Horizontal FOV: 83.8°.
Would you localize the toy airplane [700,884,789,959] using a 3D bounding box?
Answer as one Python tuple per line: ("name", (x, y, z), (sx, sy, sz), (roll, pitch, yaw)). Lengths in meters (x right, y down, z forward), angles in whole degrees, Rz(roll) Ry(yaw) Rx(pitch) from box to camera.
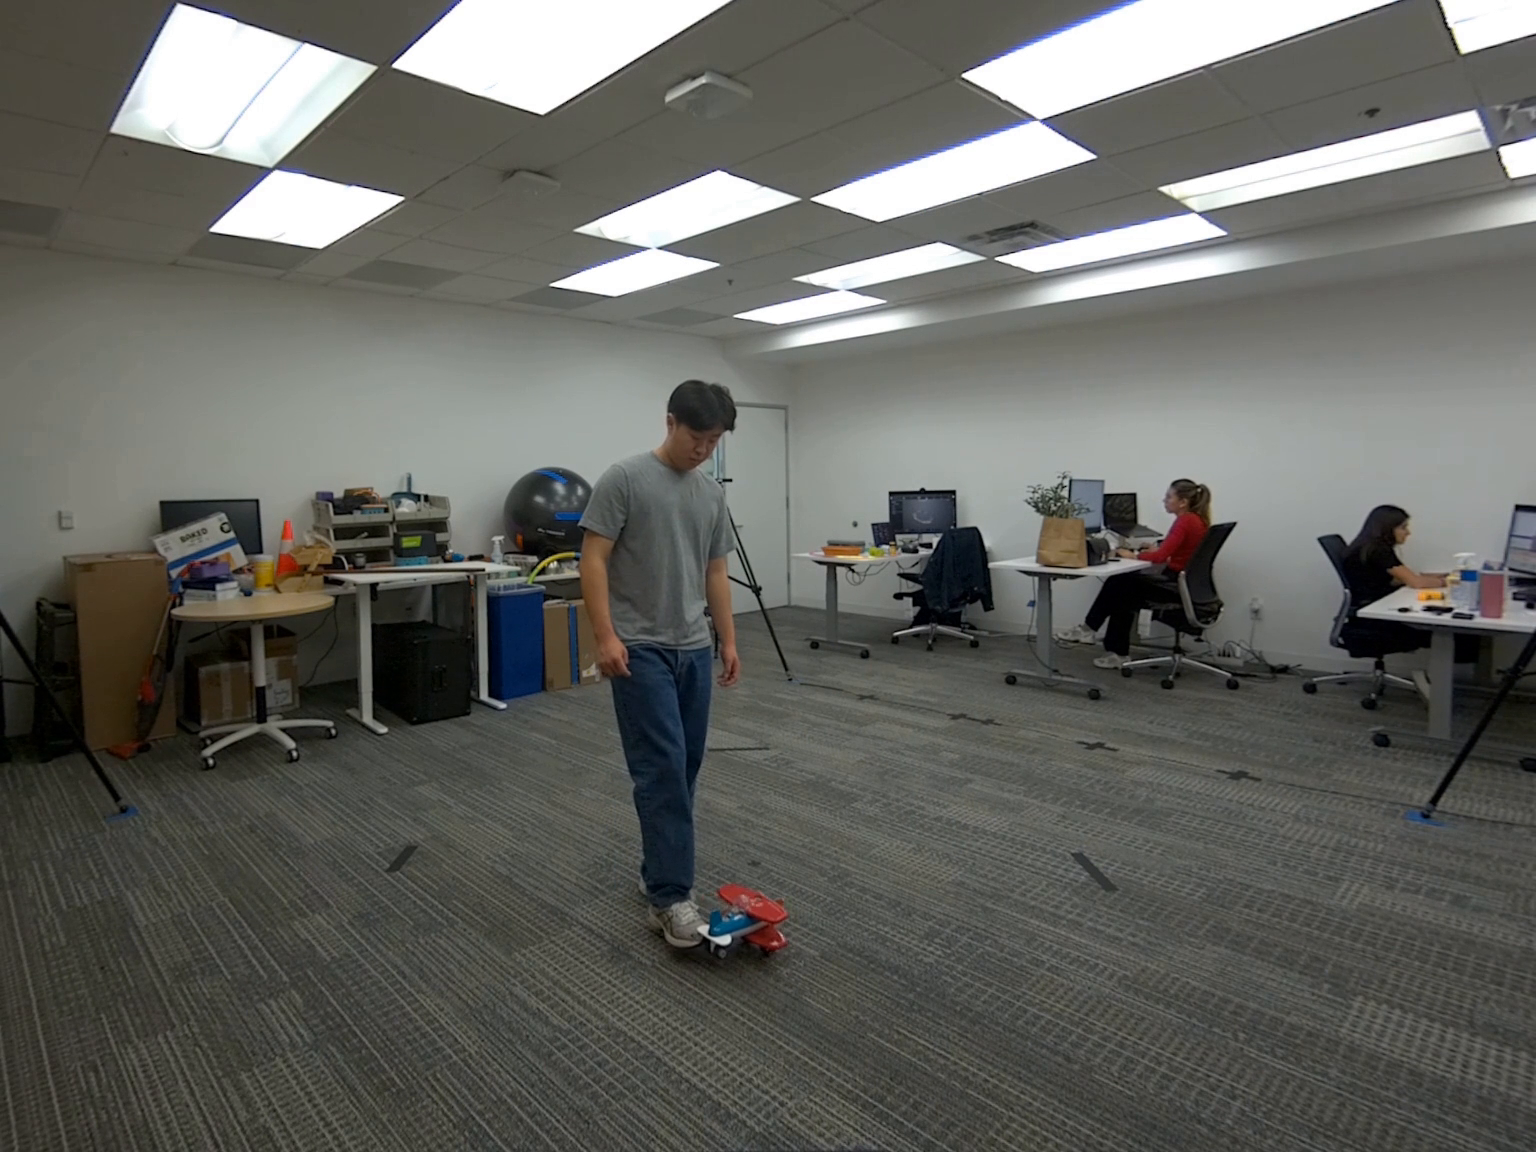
("toy airplane", (-0.063, 1.021, 2.487), (0.256, 0.157, 0.253), (8, -6, 18))
